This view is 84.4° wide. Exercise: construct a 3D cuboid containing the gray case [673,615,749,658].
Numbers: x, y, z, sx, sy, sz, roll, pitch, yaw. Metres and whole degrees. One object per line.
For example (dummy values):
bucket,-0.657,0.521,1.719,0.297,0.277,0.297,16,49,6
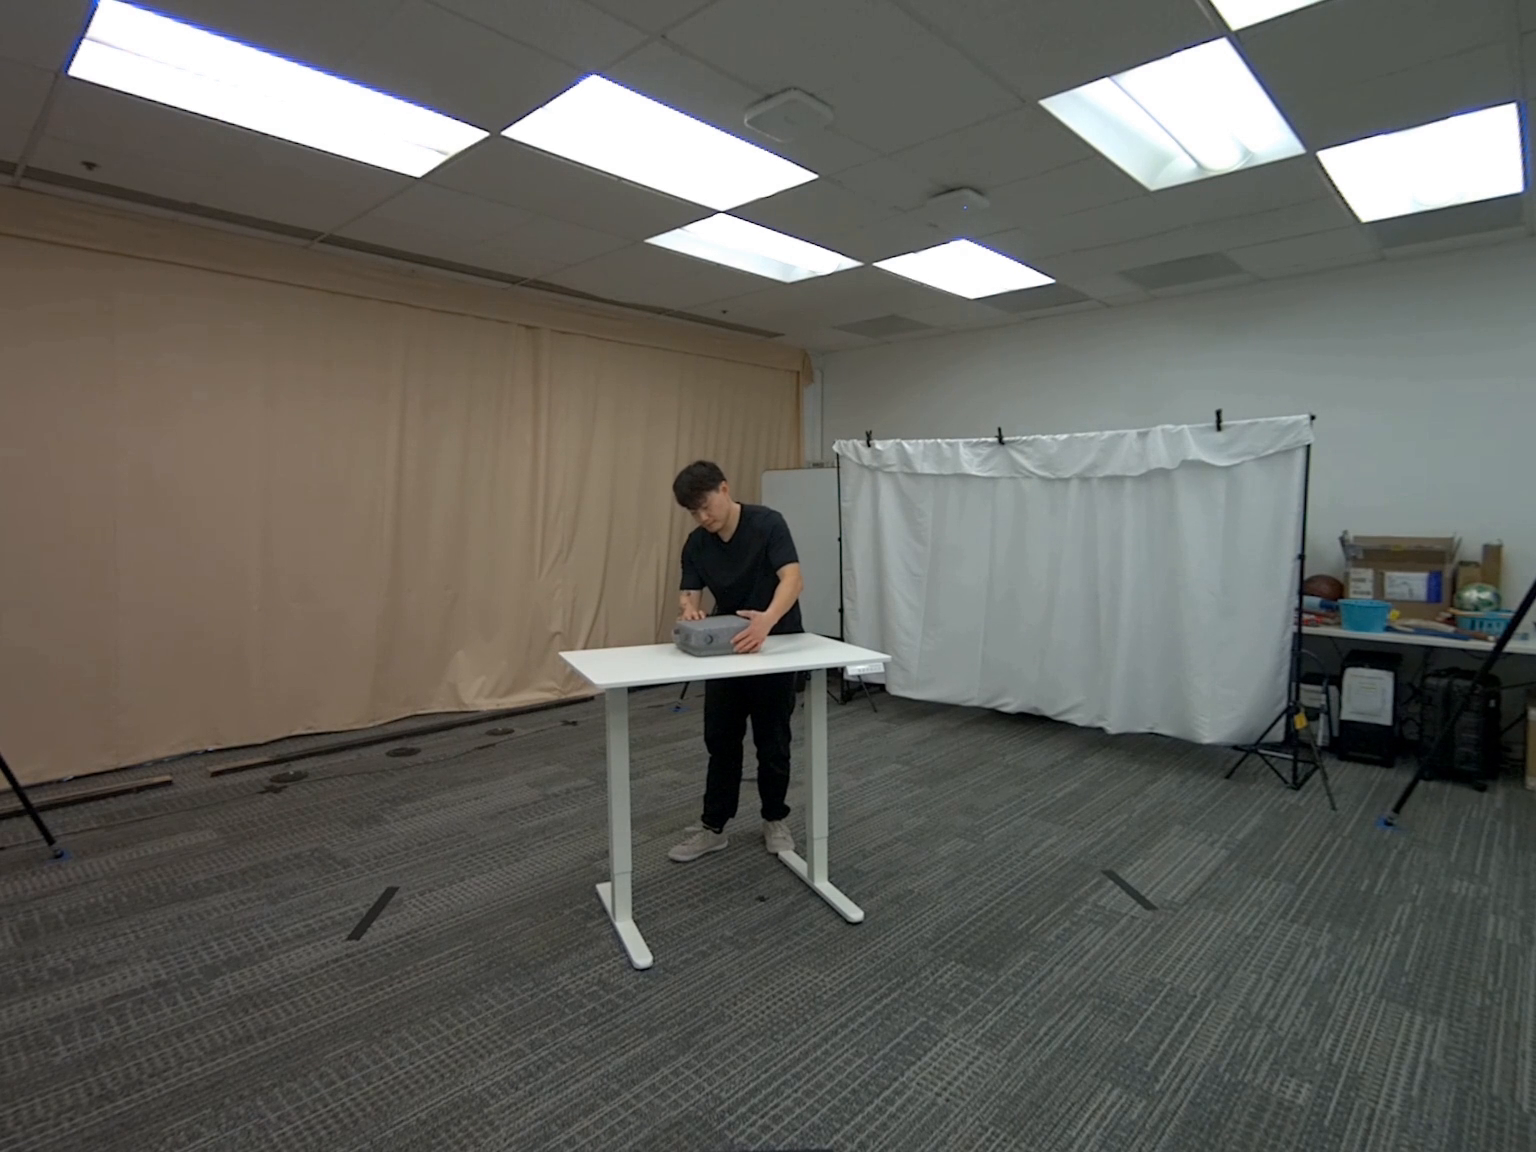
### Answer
gray case,-0.192,0.209,2.984,0.255,0.104,0.263,-4,7,-21
